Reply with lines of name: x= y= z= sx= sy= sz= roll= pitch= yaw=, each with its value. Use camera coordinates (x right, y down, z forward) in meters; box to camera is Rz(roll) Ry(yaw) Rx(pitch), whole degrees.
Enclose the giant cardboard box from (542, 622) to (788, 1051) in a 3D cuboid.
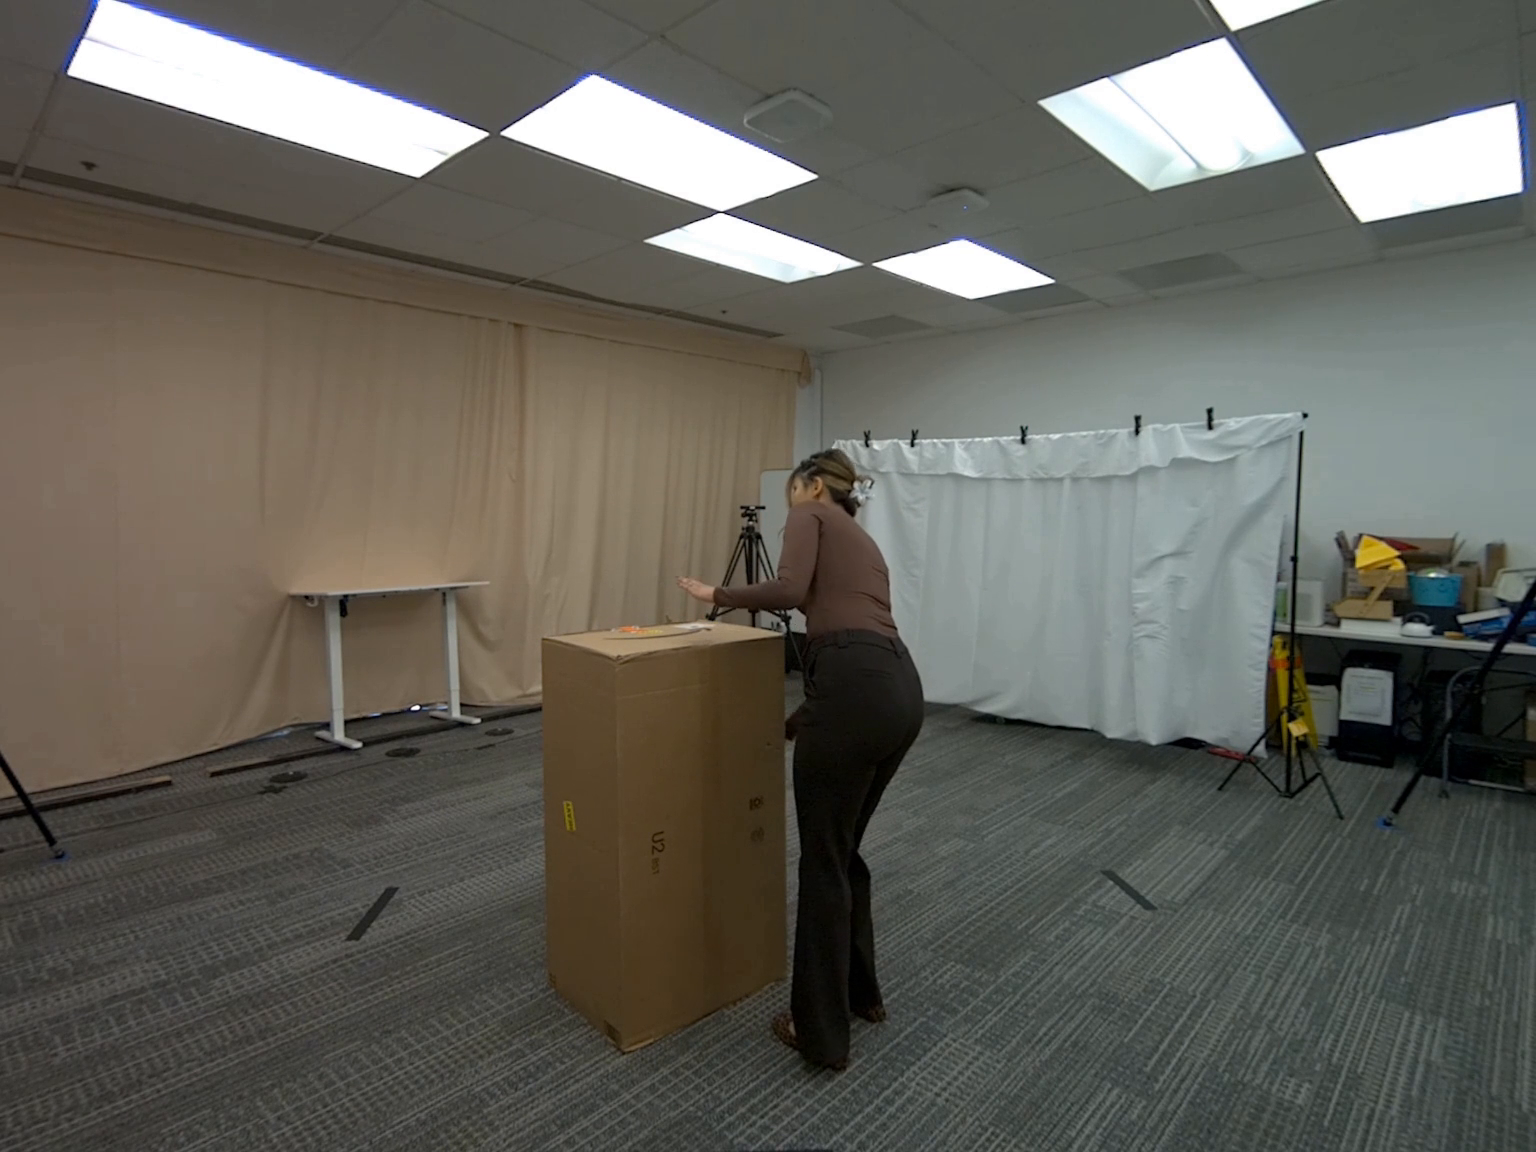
giant cardboard box: x=-0.296 y=0.681 z=2.454 sx=0.566 sy=1.025 sz=0.461 roll=-2 pitch=3 yaw=-39
